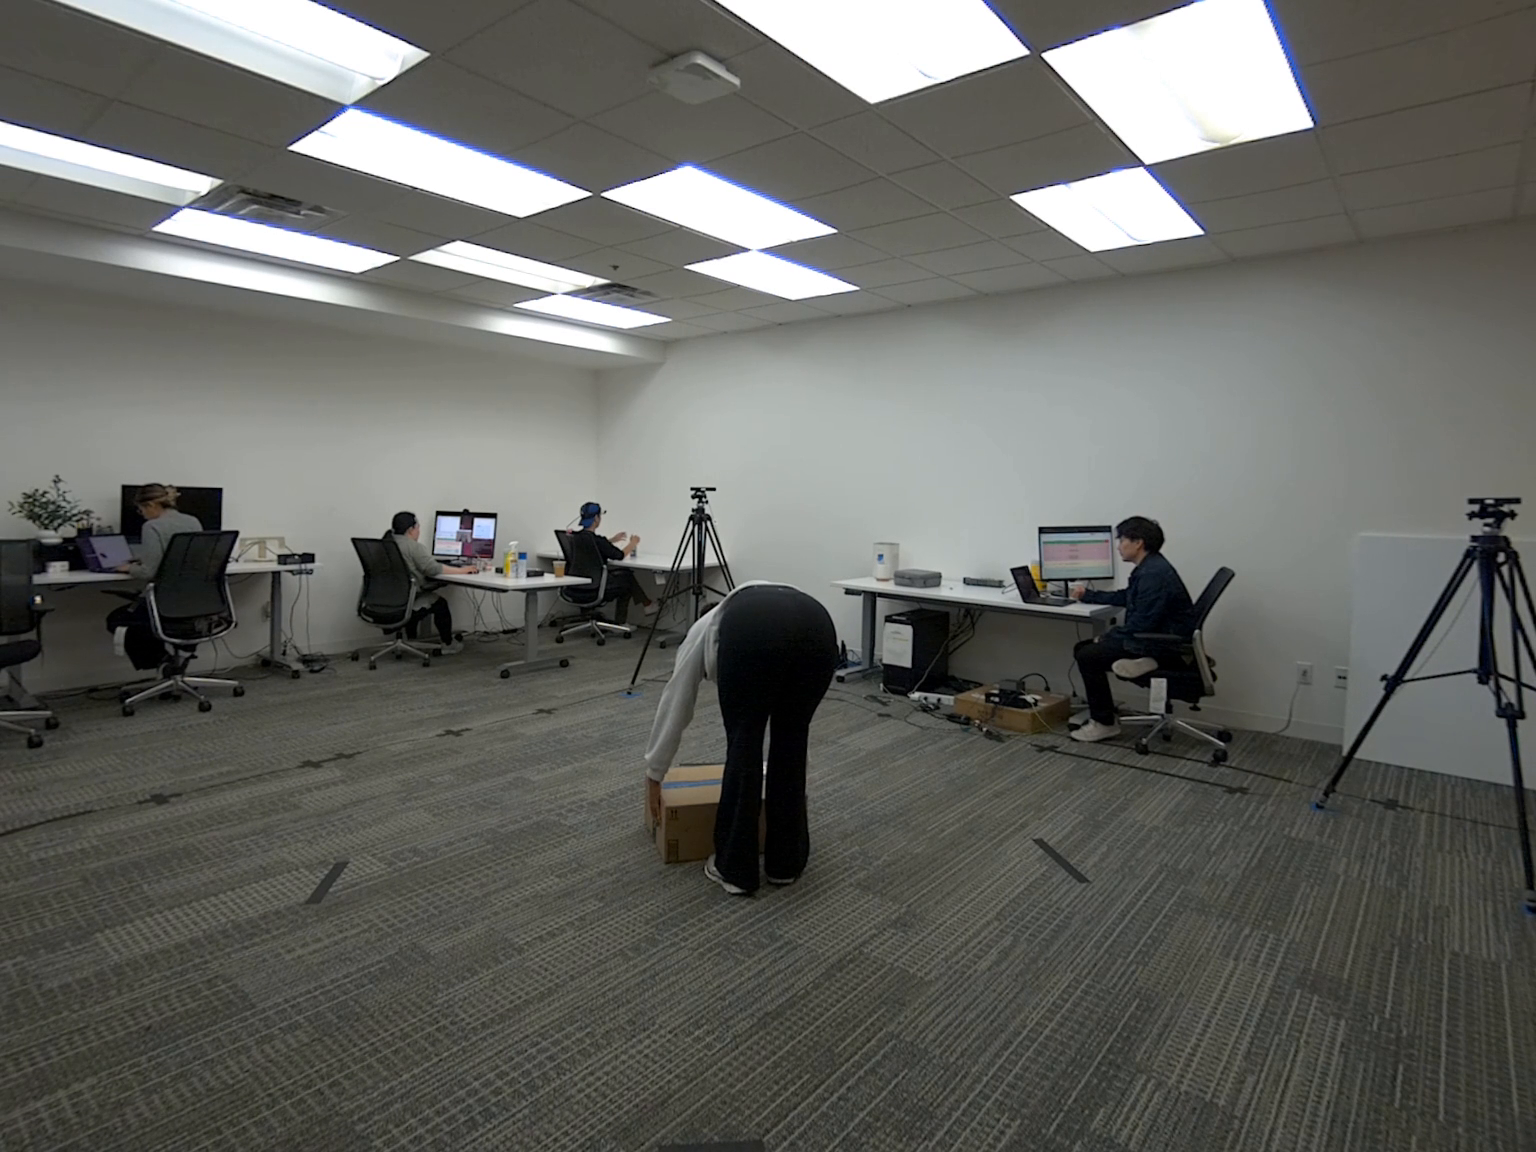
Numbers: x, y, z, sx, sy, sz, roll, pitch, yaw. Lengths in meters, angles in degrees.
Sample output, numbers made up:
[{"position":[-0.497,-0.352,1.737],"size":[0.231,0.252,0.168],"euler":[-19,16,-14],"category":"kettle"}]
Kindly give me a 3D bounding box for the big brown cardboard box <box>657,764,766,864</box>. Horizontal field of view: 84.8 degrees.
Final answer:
[{"position":[-0.184,0.917,3.407],"size":[0.579,0.232,0.426],"euler":[-1,5,-17],"category":"big brown cardboard box"}]
